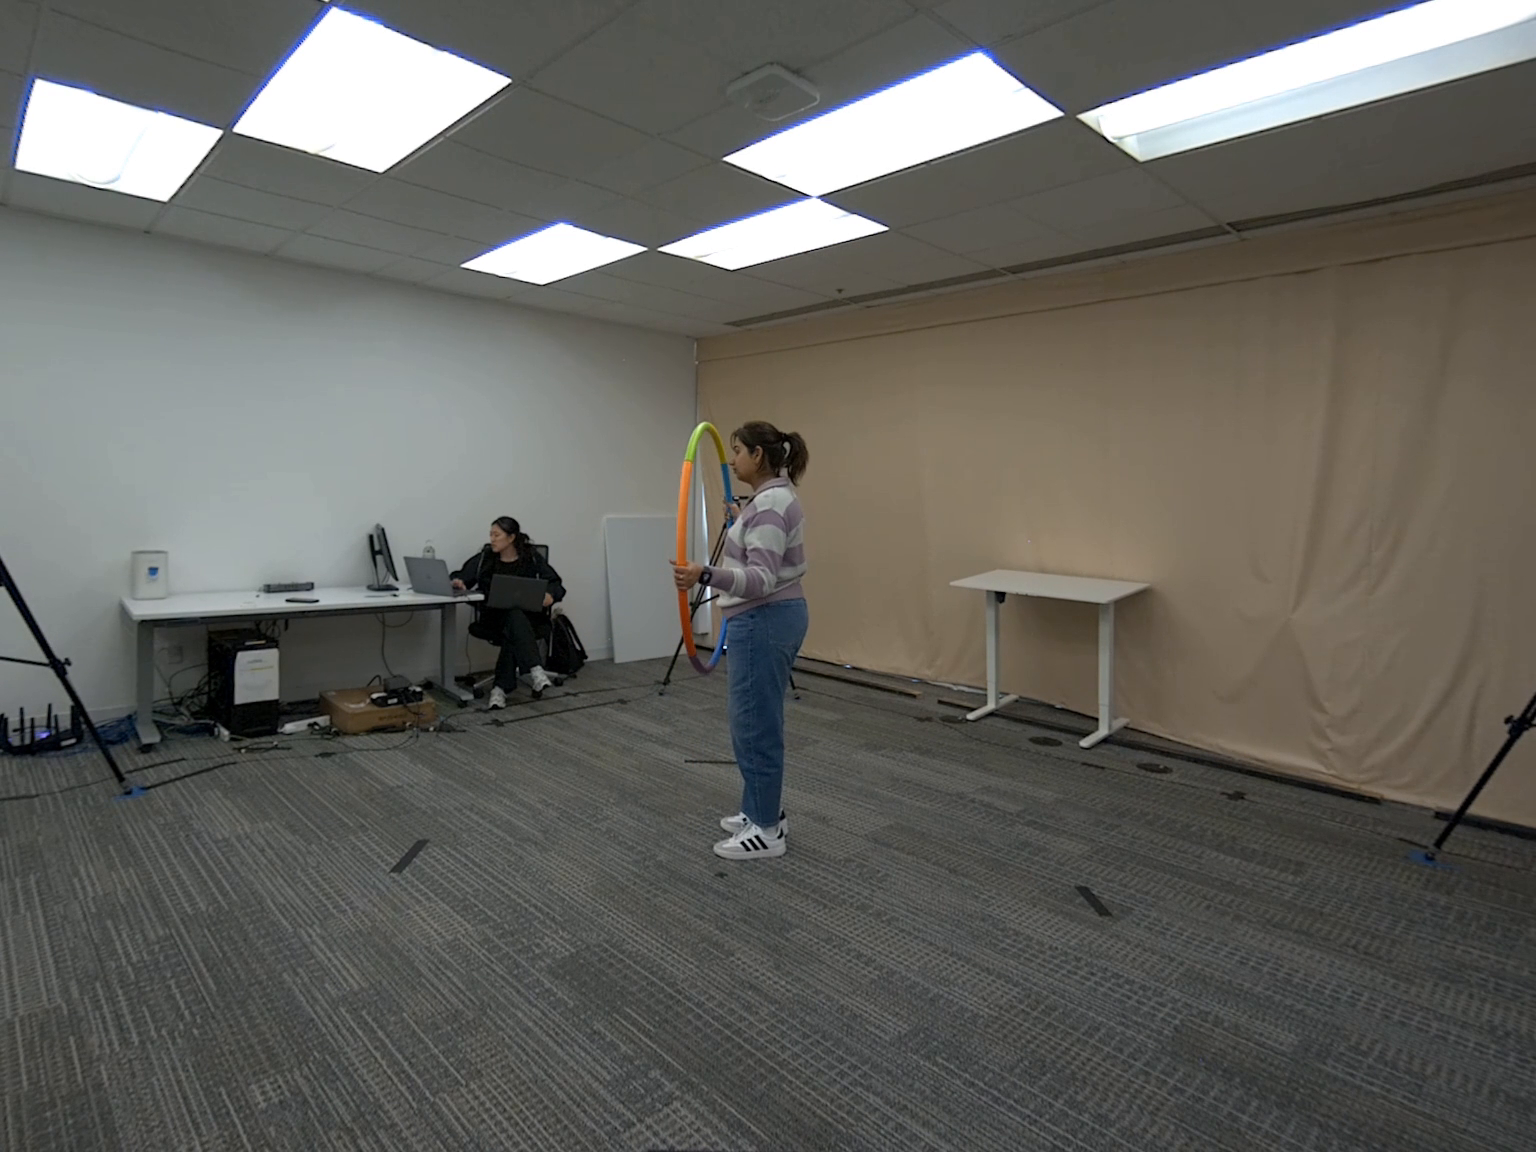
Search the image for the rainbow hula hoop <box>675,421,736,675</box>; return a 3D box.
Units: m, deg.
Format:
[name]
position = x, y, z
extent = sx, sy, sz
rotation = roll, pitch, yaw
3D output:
[rainbow hula hoop]
position = -0.235, -0.109, 3.324
extent = 0.036, 0.976, 0.974
rotation = 1, 4, 8
